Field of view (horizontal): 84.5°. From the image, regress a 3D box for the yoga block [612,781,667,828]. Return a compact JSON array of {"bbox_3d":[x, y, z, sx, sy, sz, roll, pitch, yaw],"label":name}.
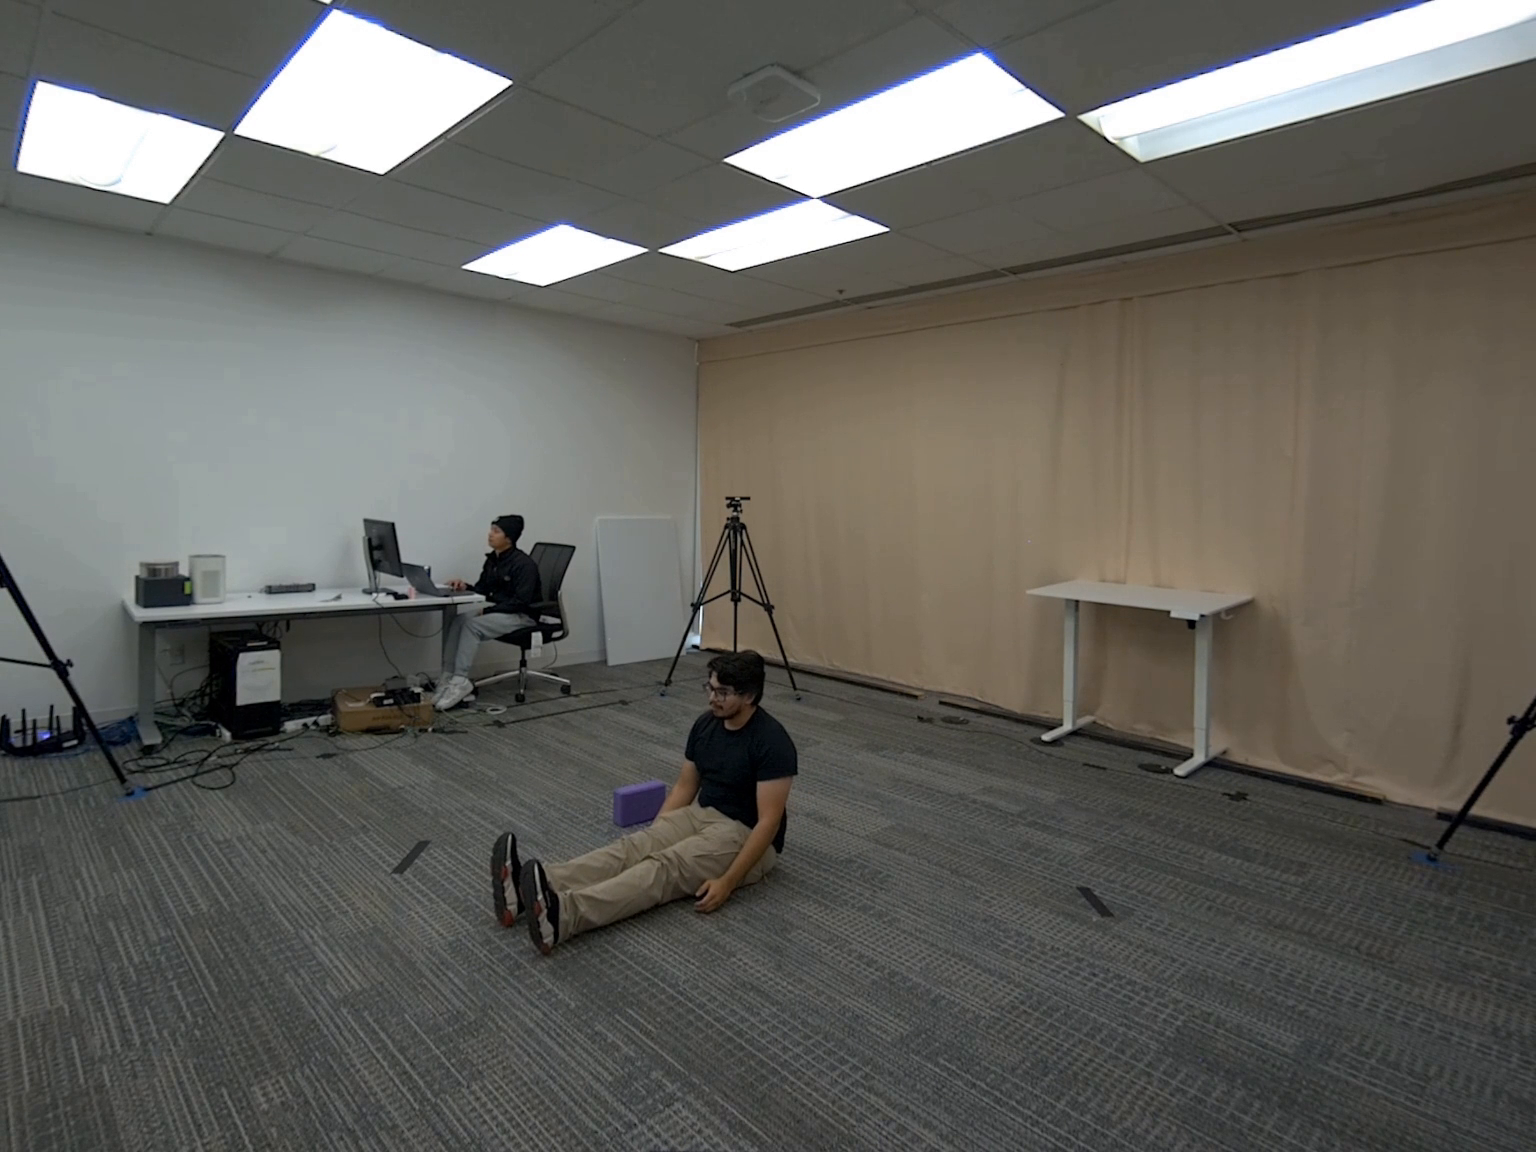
[{"bbox_3d":[-0.561,0.976,3.624,0.224,0.148,0.078,-3,6,-40],"label":"yoga block"}]
